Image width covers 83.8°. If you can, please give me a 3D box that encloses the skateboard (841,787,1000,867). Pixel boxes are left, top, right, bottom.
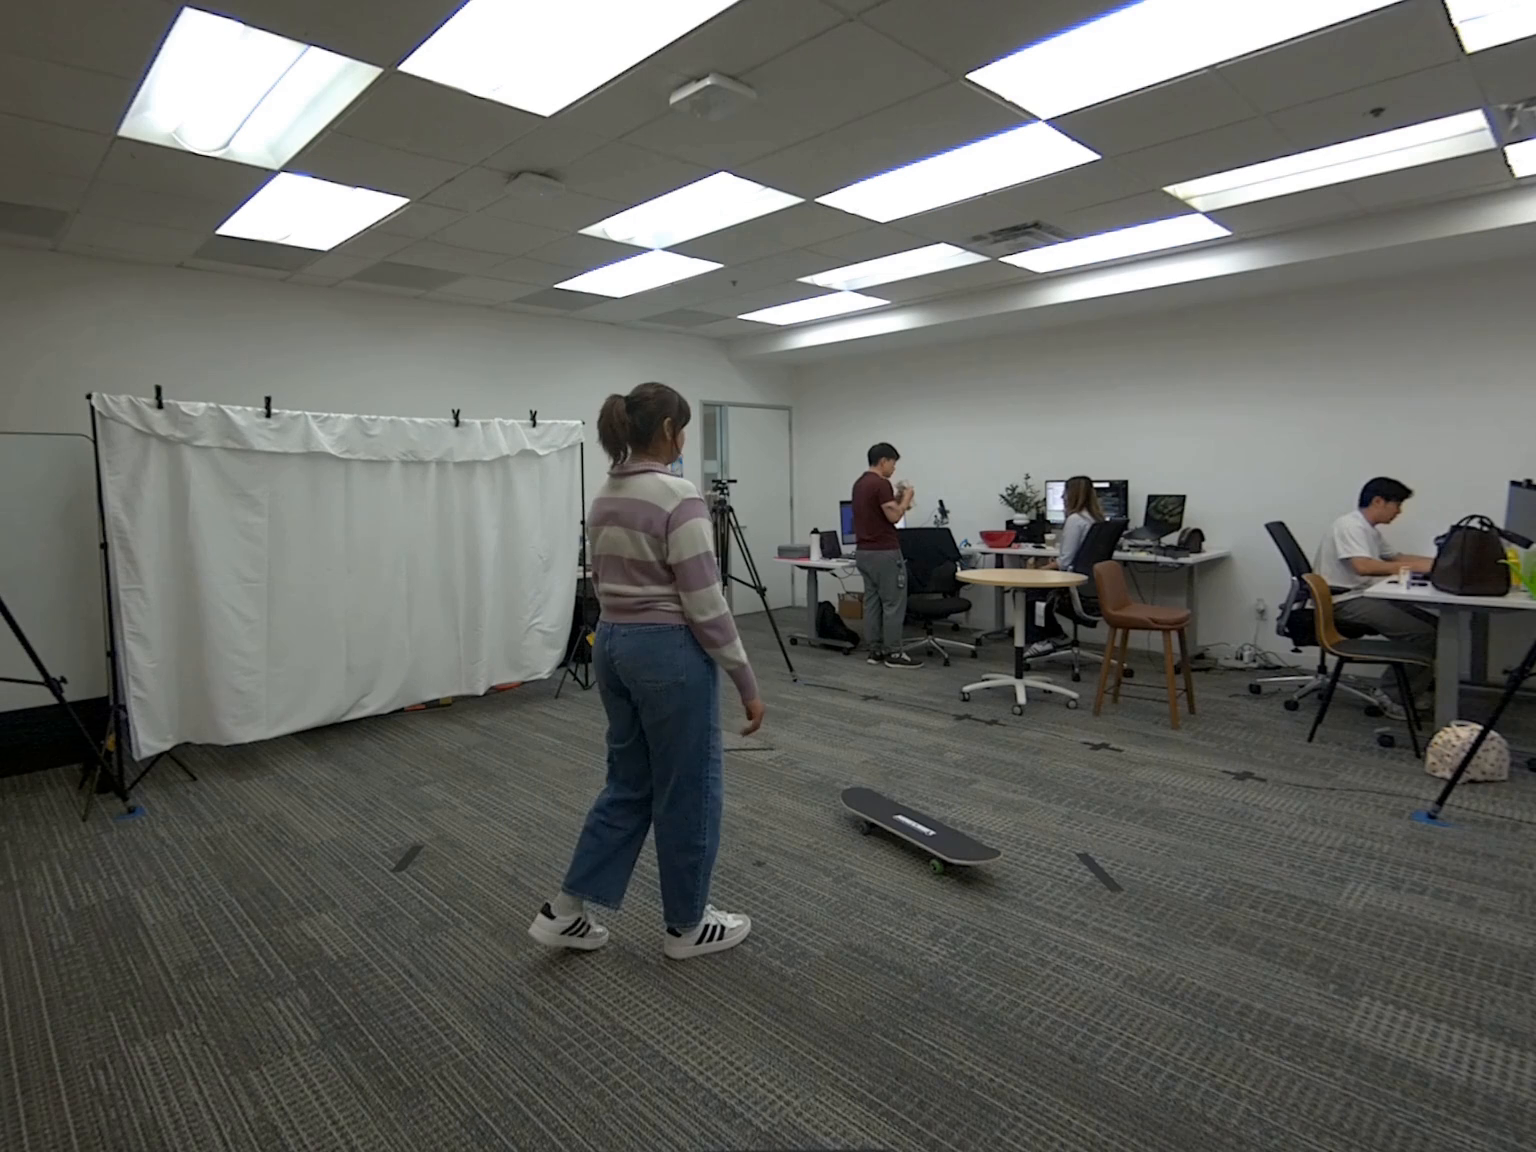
[{"bbox_3d":[0.553,0.970,3.214,0.189,0.110,0.807,-5,7,-31],"label":"skateboard"}]
